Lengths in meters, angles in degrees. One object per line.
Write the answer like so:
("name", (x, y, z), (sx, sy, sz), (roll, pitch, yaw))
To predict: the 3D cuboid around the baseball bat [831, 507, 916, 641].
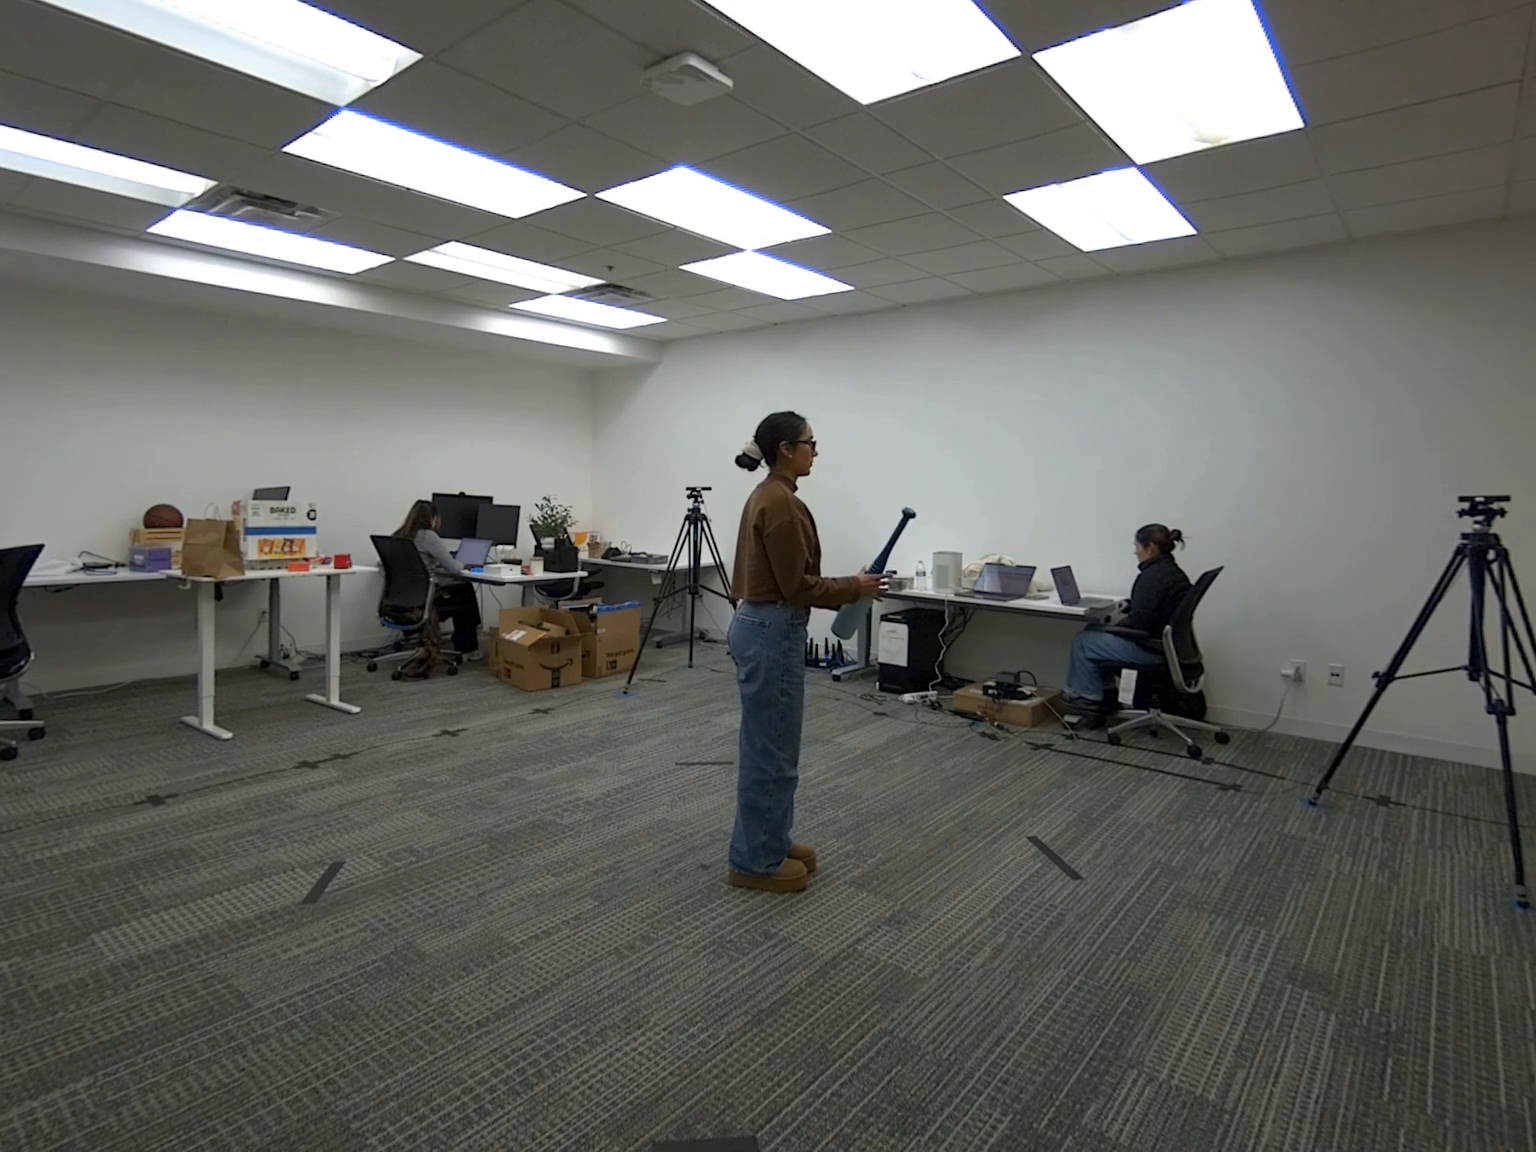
("baseball bat", (0.368, 0.002, 3.006), (0.088, 0.538, 0.091), (21, 25, -13))
